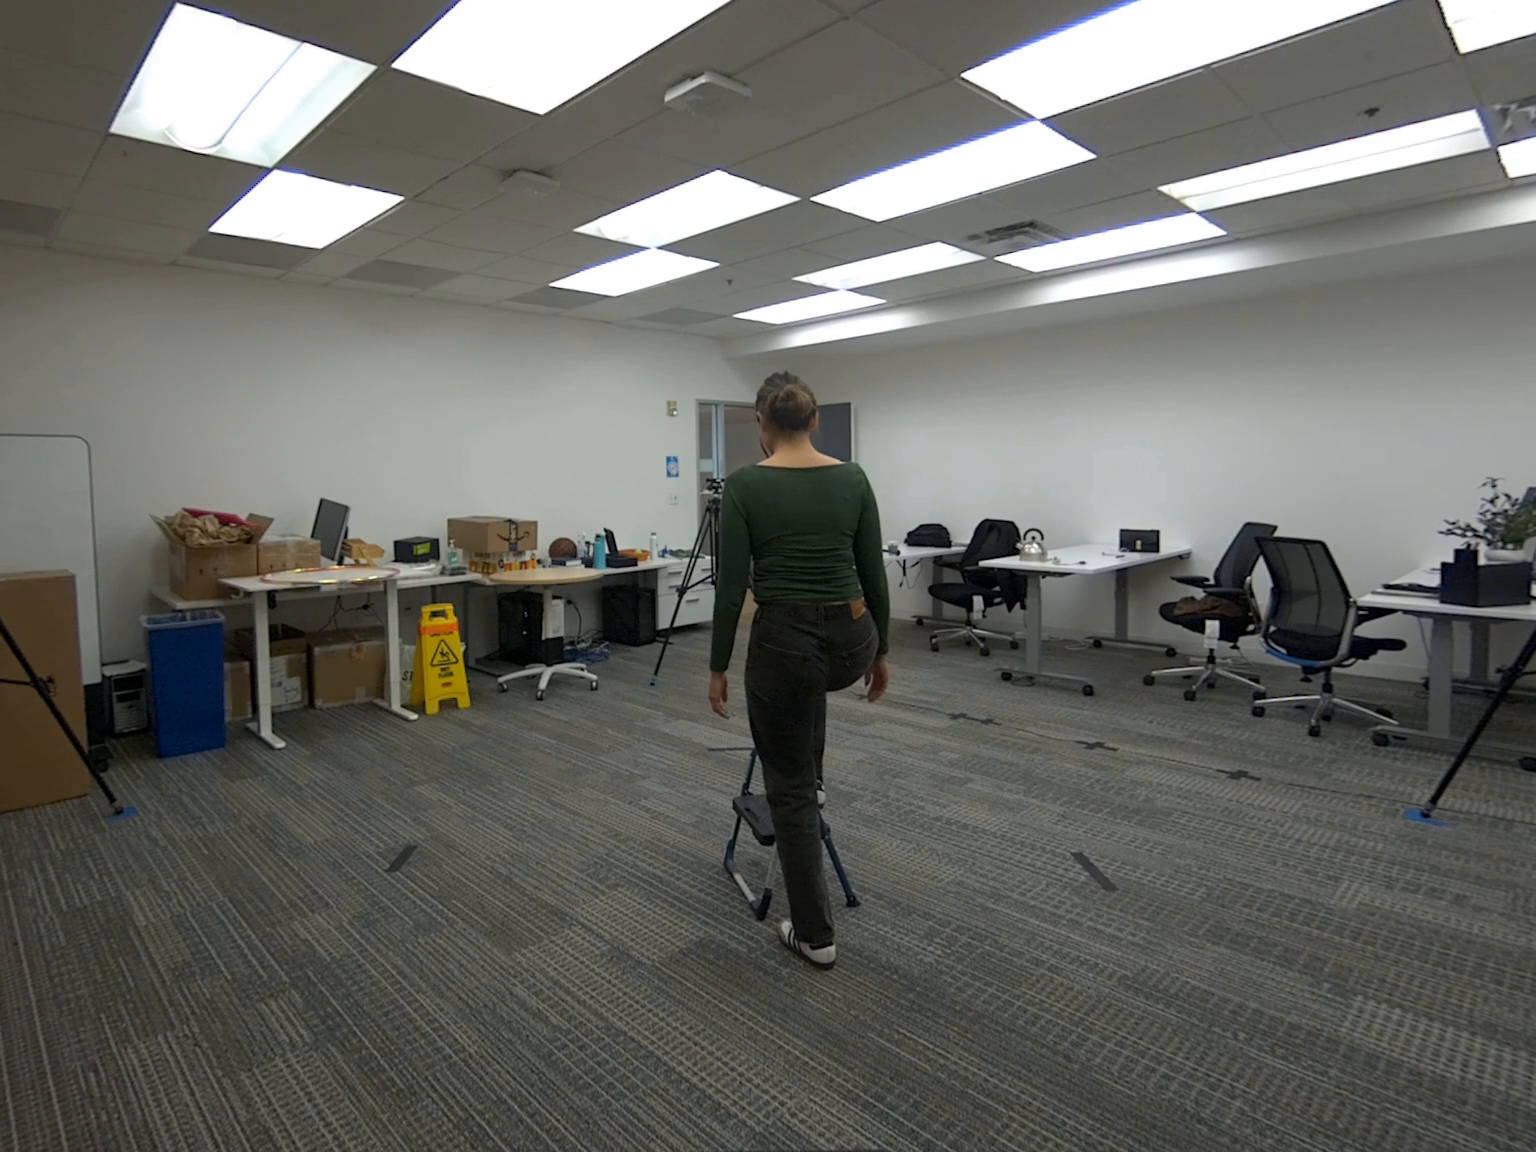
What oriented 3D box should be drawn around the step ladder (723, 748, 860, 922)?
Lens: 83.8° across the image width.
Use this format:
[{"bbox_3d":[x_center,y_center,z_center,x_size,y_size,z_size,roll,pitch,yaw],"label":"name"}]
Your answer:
[{"bbox_3d":[0.065,0.763,2.921,0.344,0.604,0.439,-2,5,-18],"label":"step ladder"}]
